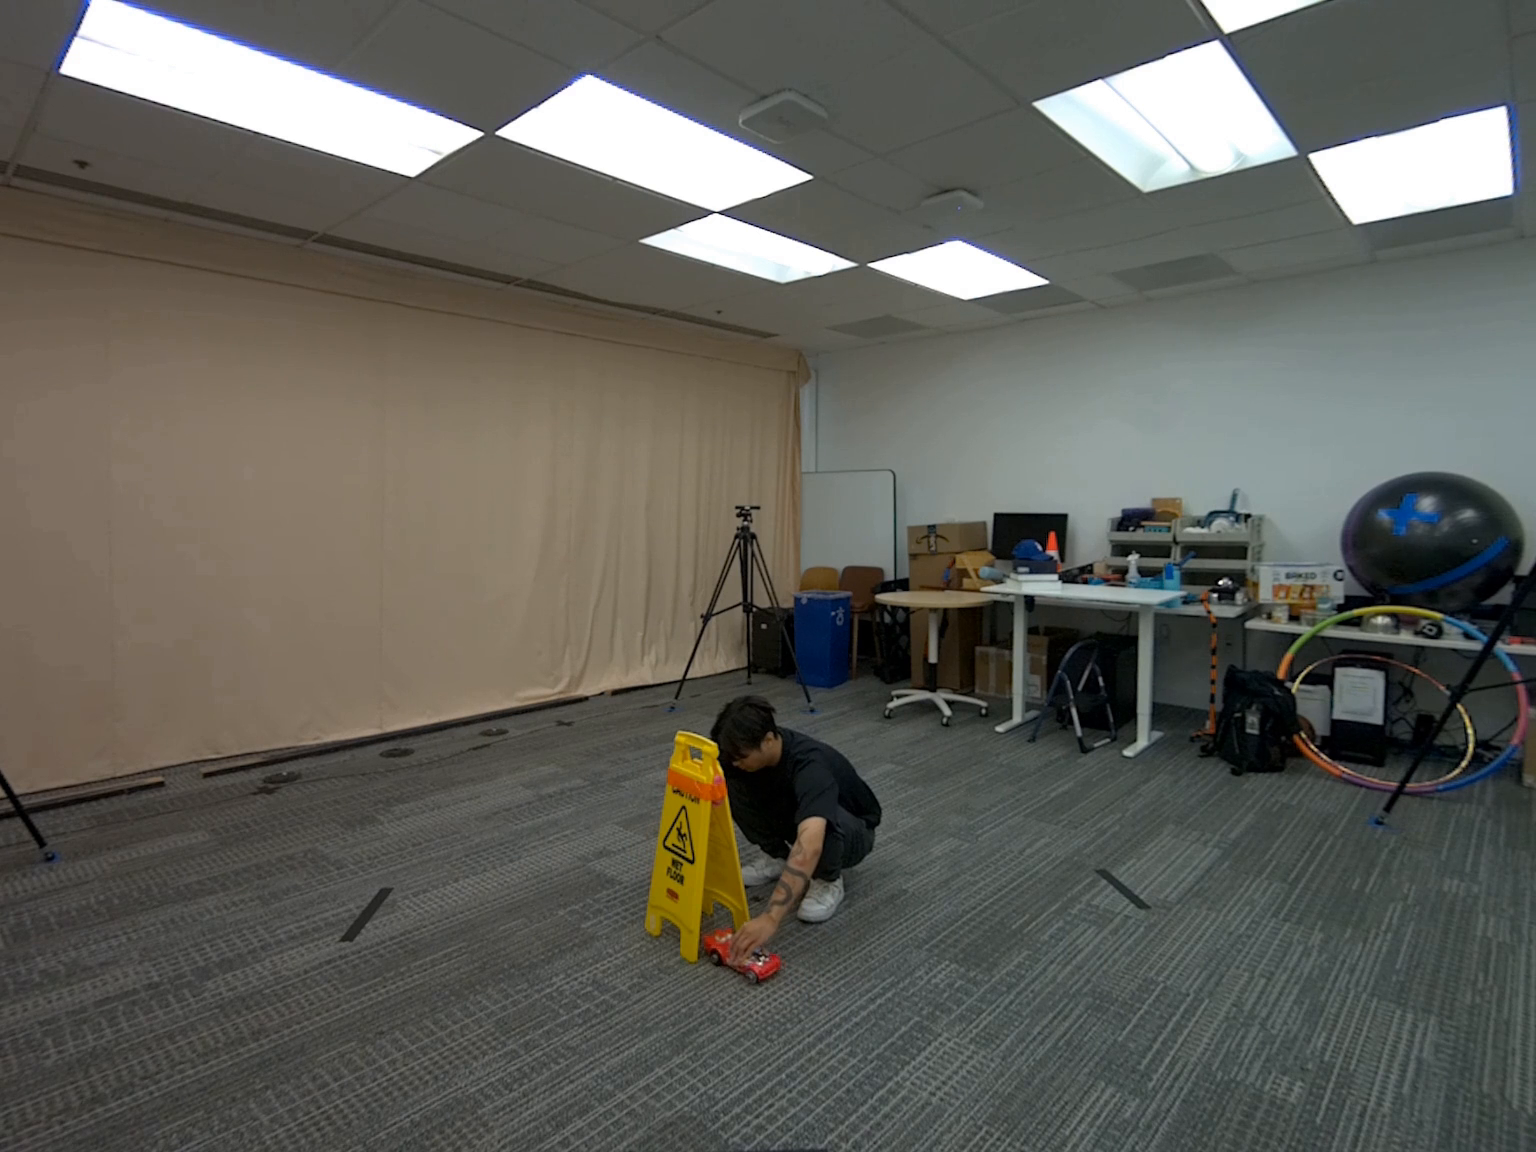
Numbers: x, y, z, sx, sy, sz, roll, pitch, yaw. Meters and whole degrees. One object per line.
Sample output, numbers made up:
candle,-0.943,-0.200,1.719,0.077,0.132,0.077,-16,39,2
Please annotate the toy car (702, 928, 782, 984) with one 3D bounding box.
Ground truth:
toy car,-0.083,1.144,2.554,0.264,0.083,0.126,18,17,41
